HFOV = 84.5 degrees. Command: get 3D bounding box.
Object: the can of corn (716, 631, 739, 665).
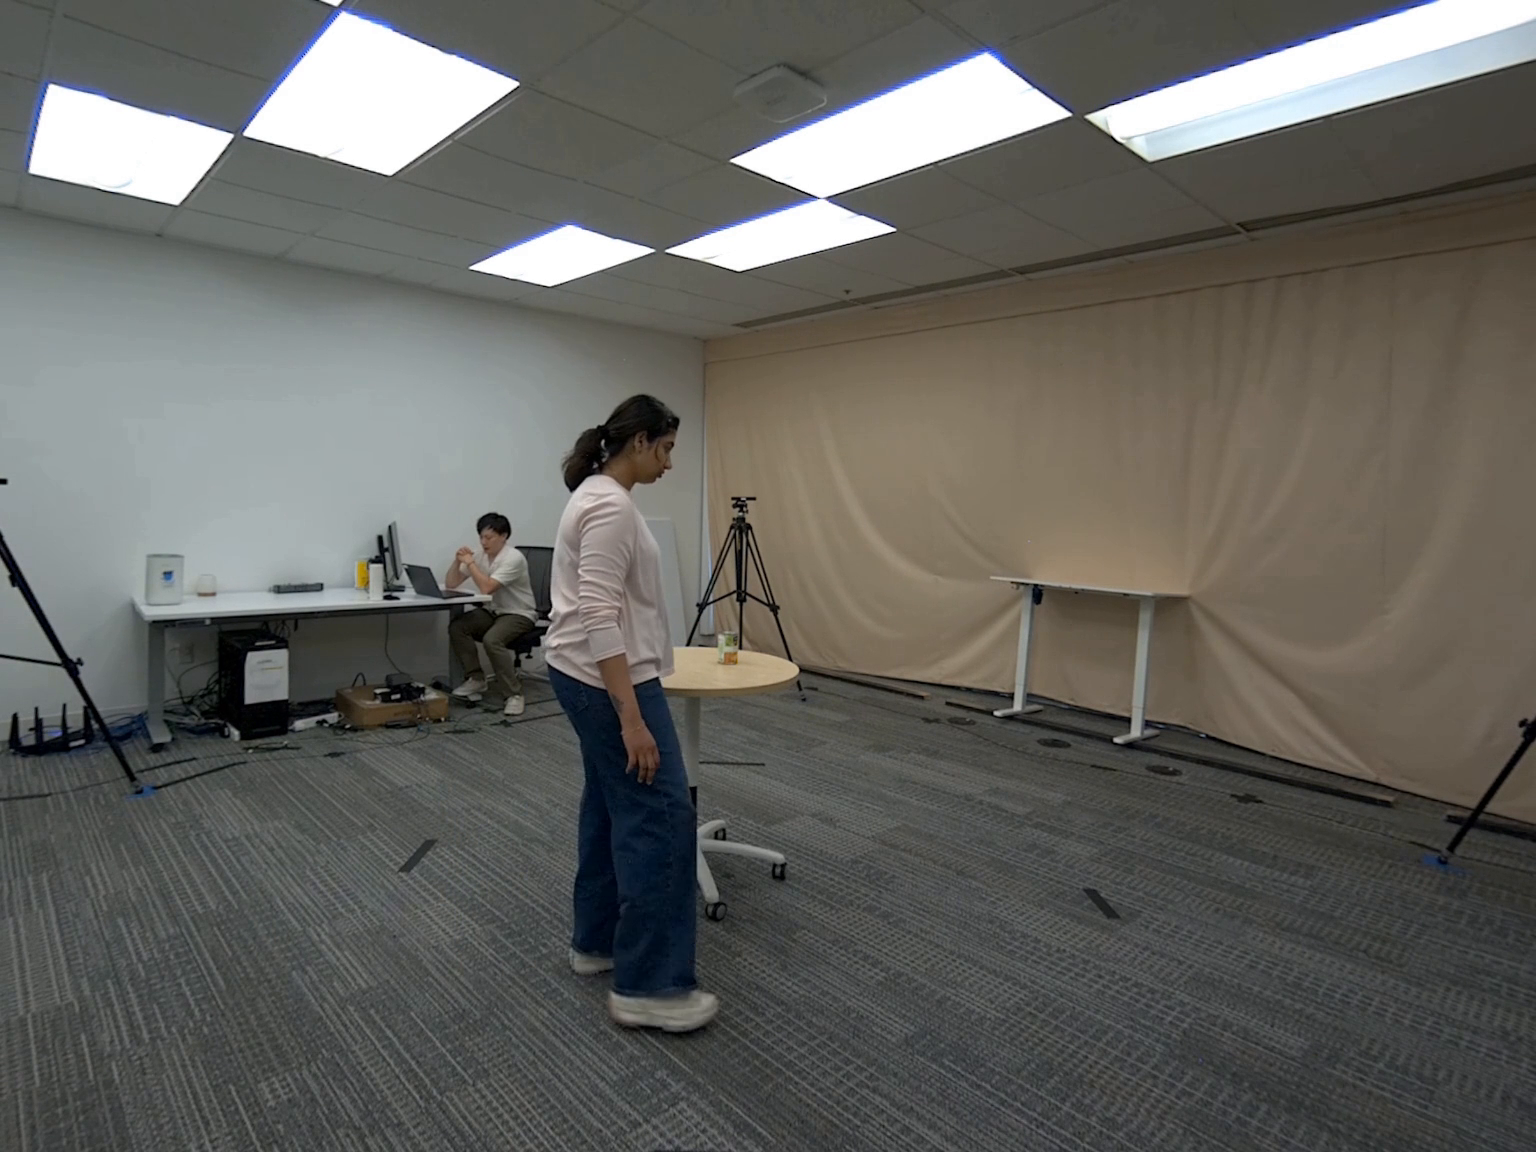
[{"bbox_3d":[-0.155,0.268,3.115,0.074,0.111,0.074,0,3,-1],"label":"can of corn"}]
